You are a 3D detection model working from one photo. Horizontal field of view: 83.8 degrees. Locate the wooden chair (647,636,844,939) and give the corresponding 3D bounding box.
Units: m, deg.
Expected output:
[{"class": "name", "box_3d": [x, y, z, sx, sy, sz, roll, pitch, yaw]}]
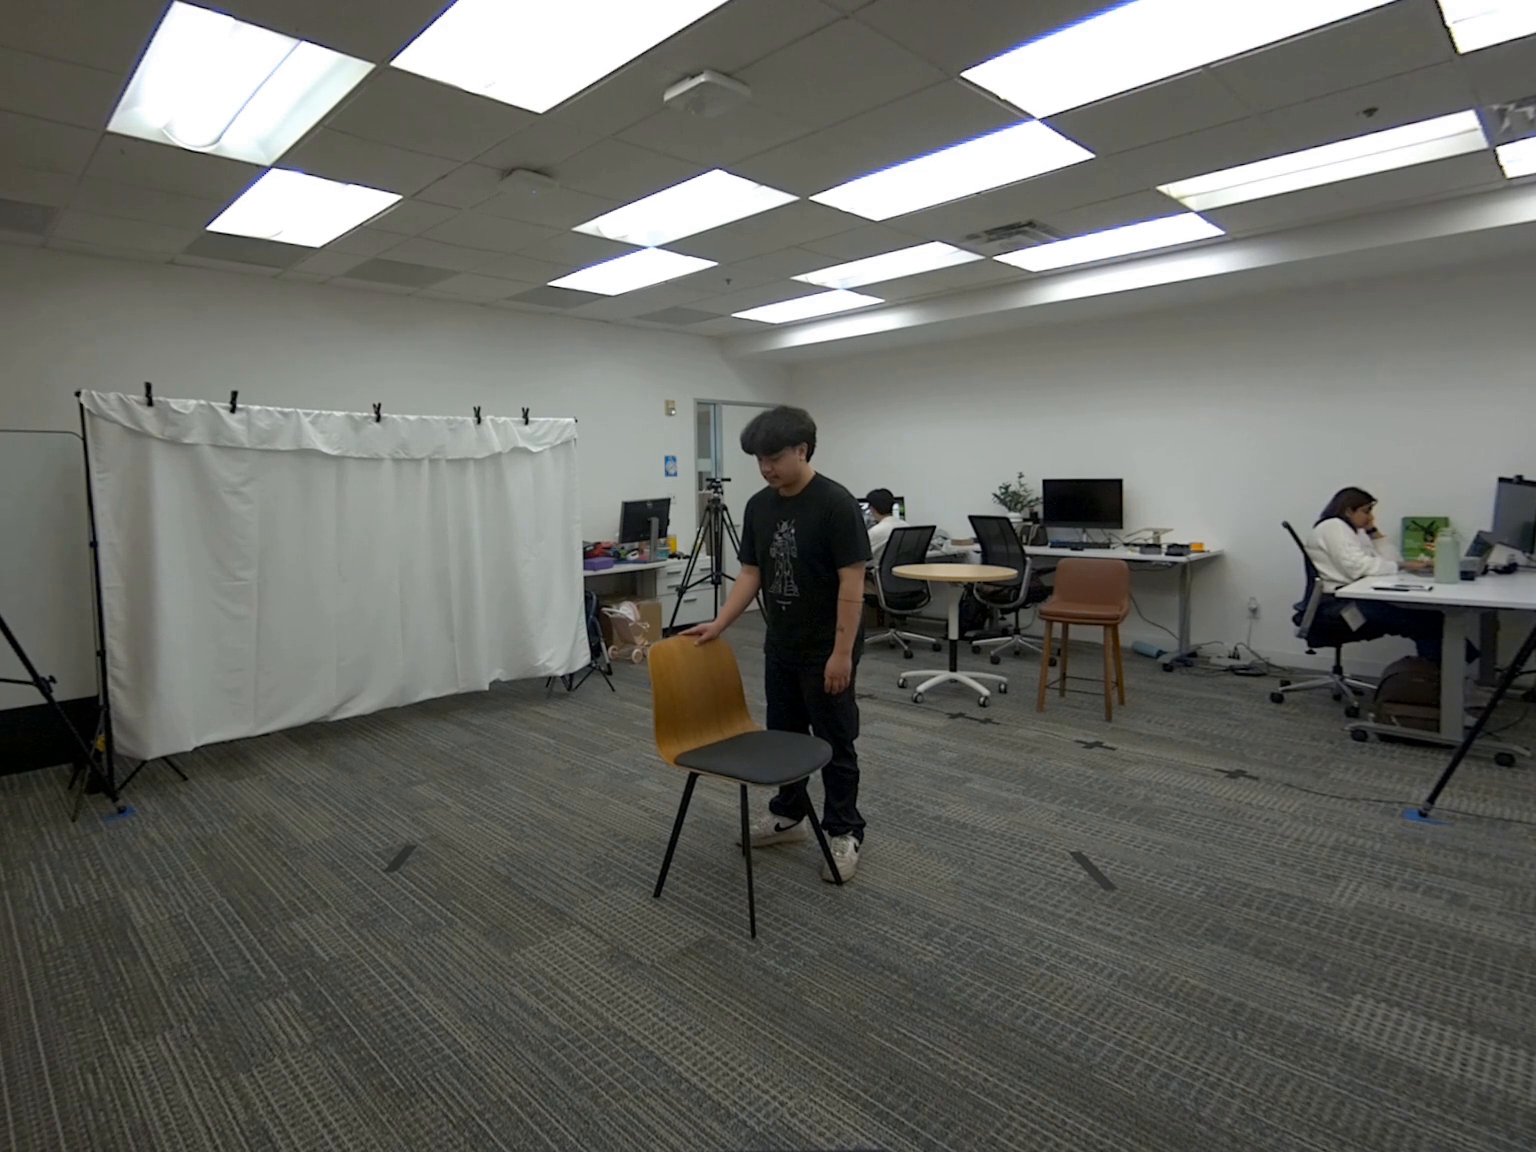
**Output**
[{"class": "wooden chair", "box_3d": [-0.085, 0.633, 2.838, 0.536, 0.879, 0.465, -7, -2, 43]}]
